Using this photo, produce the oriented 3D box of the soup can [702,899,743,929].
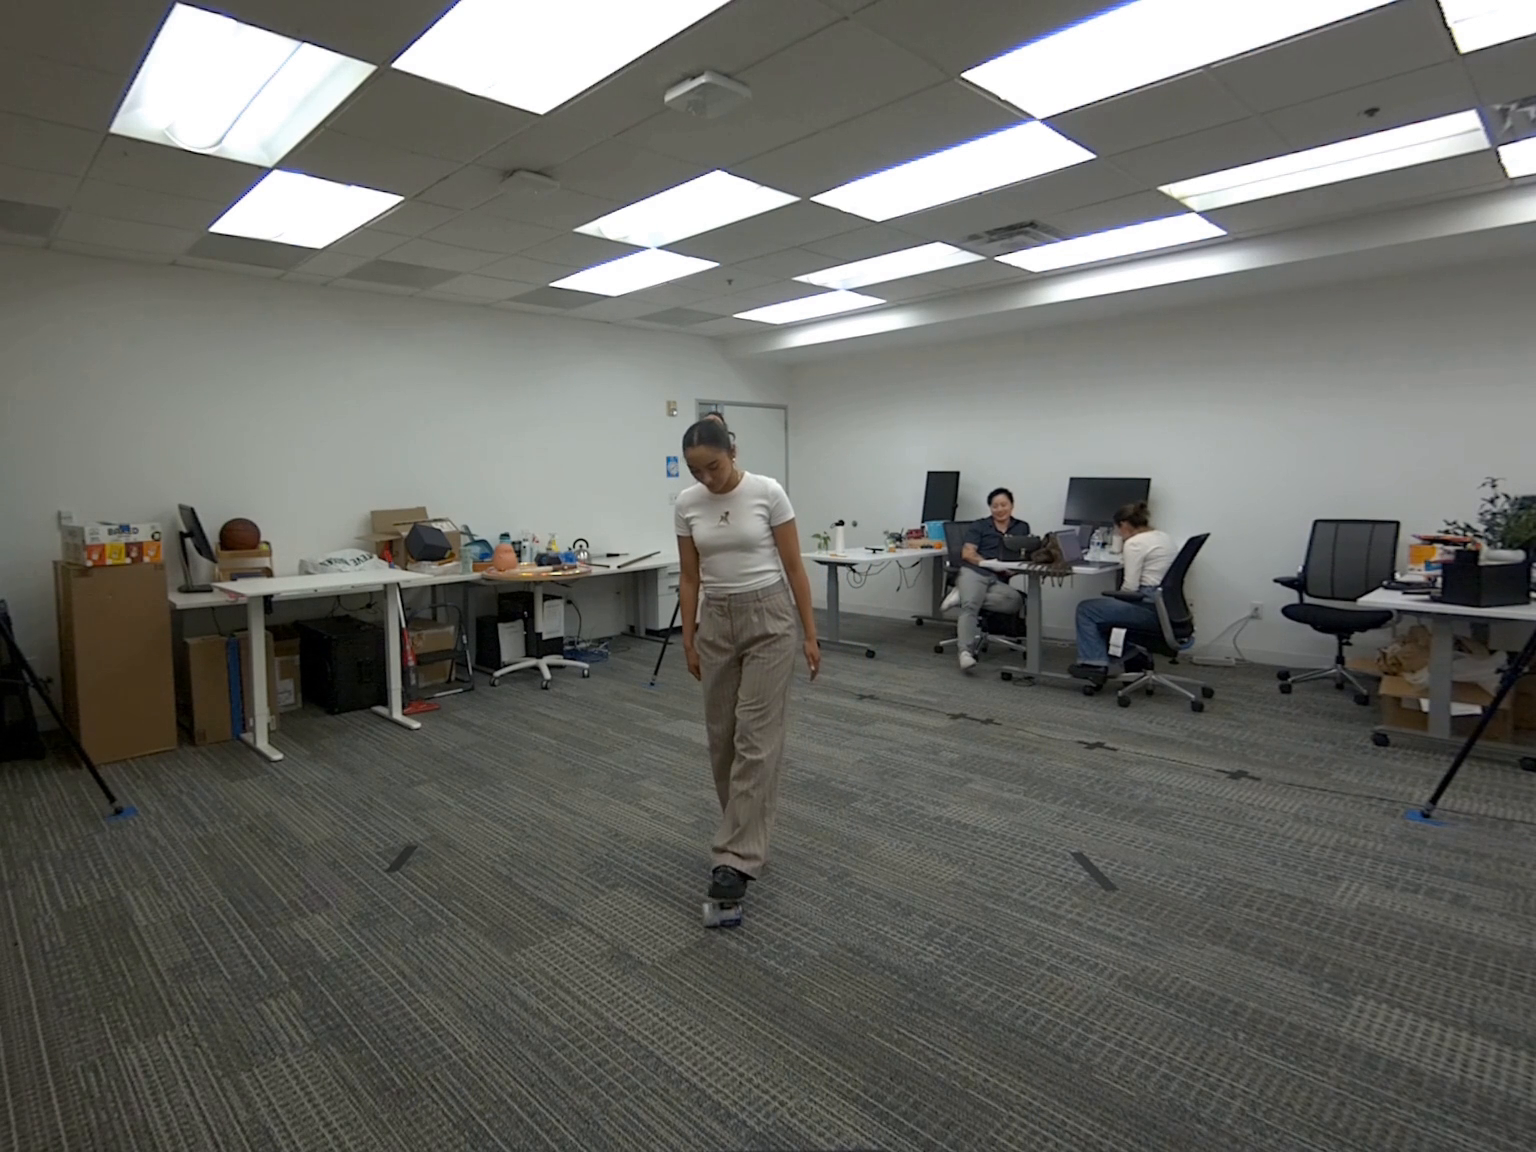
[{"bbox_3d":[-0.137,1.062,2.683,0.121,0.067,0.068,-1,5,-5],"label":"soup can"}]
